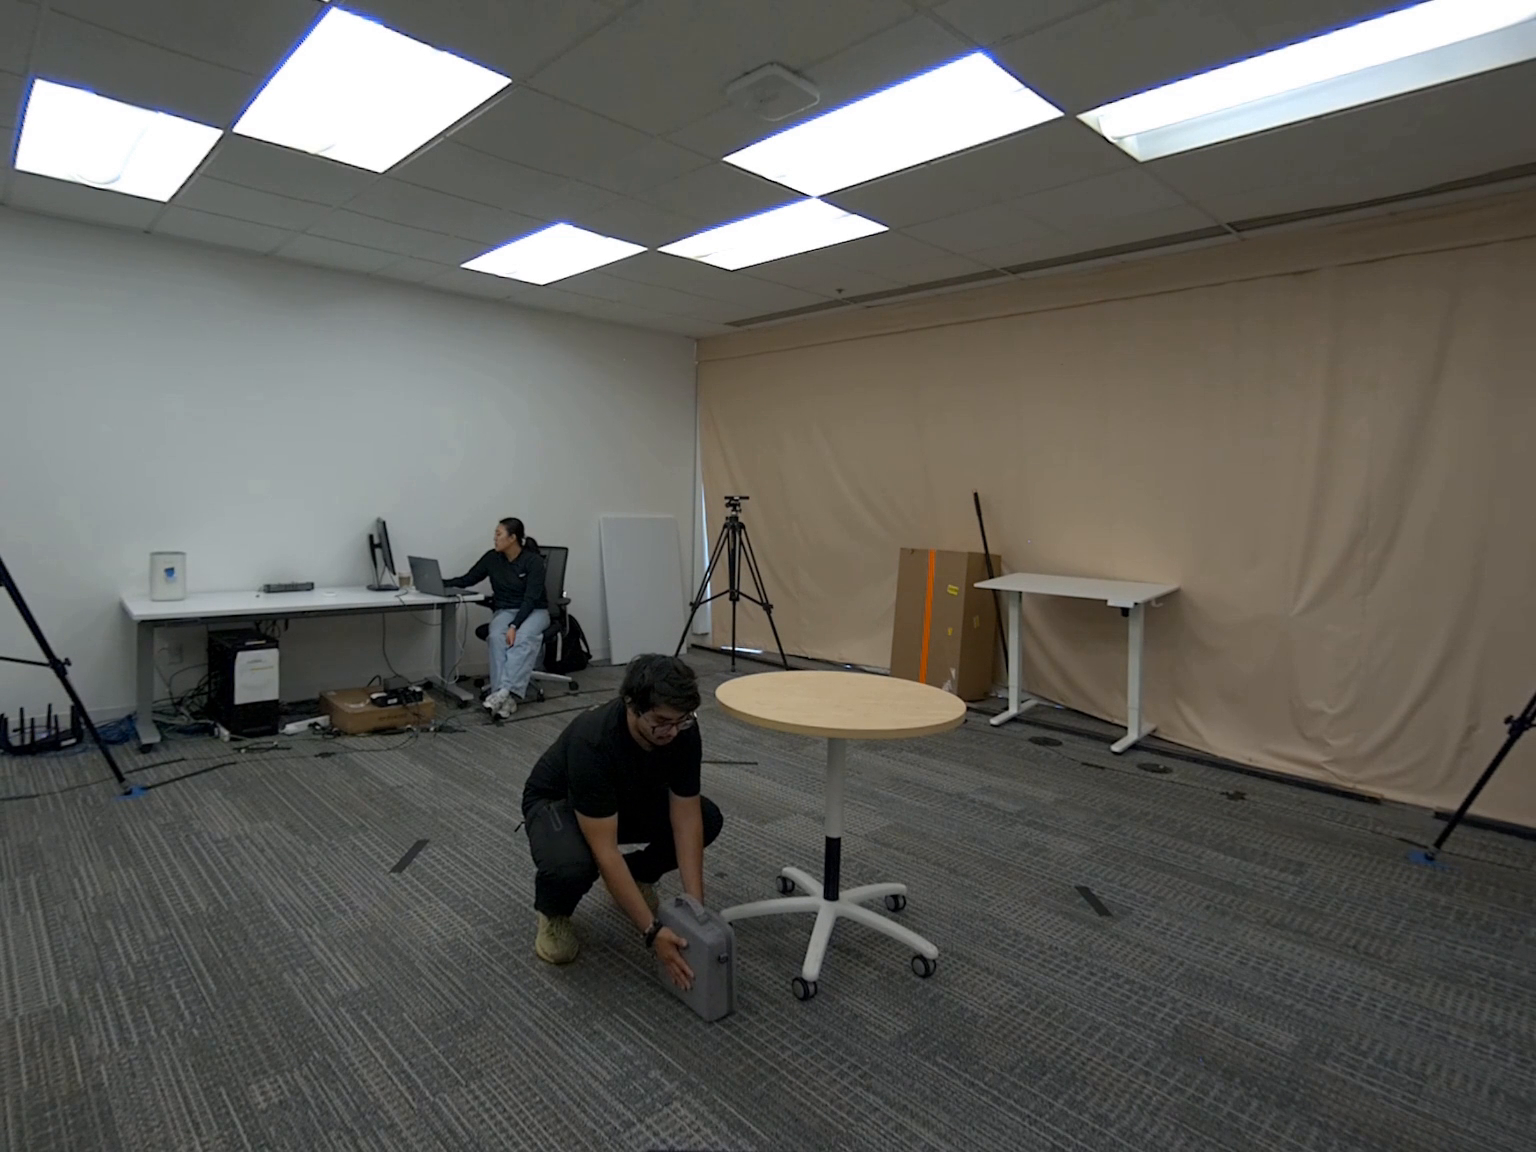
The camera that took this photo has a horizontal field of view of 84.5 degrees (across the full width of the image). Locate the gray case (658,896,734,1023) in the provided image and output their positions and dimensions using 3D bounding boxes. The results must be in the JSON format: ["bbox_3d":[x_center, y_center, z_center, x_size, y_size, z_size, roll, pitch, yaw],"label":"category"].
[{"bbox_3d":[-0.211,1.050,2.304,0.102,0.259,0.264,-9,11,-39],"label":"gray case"}]
